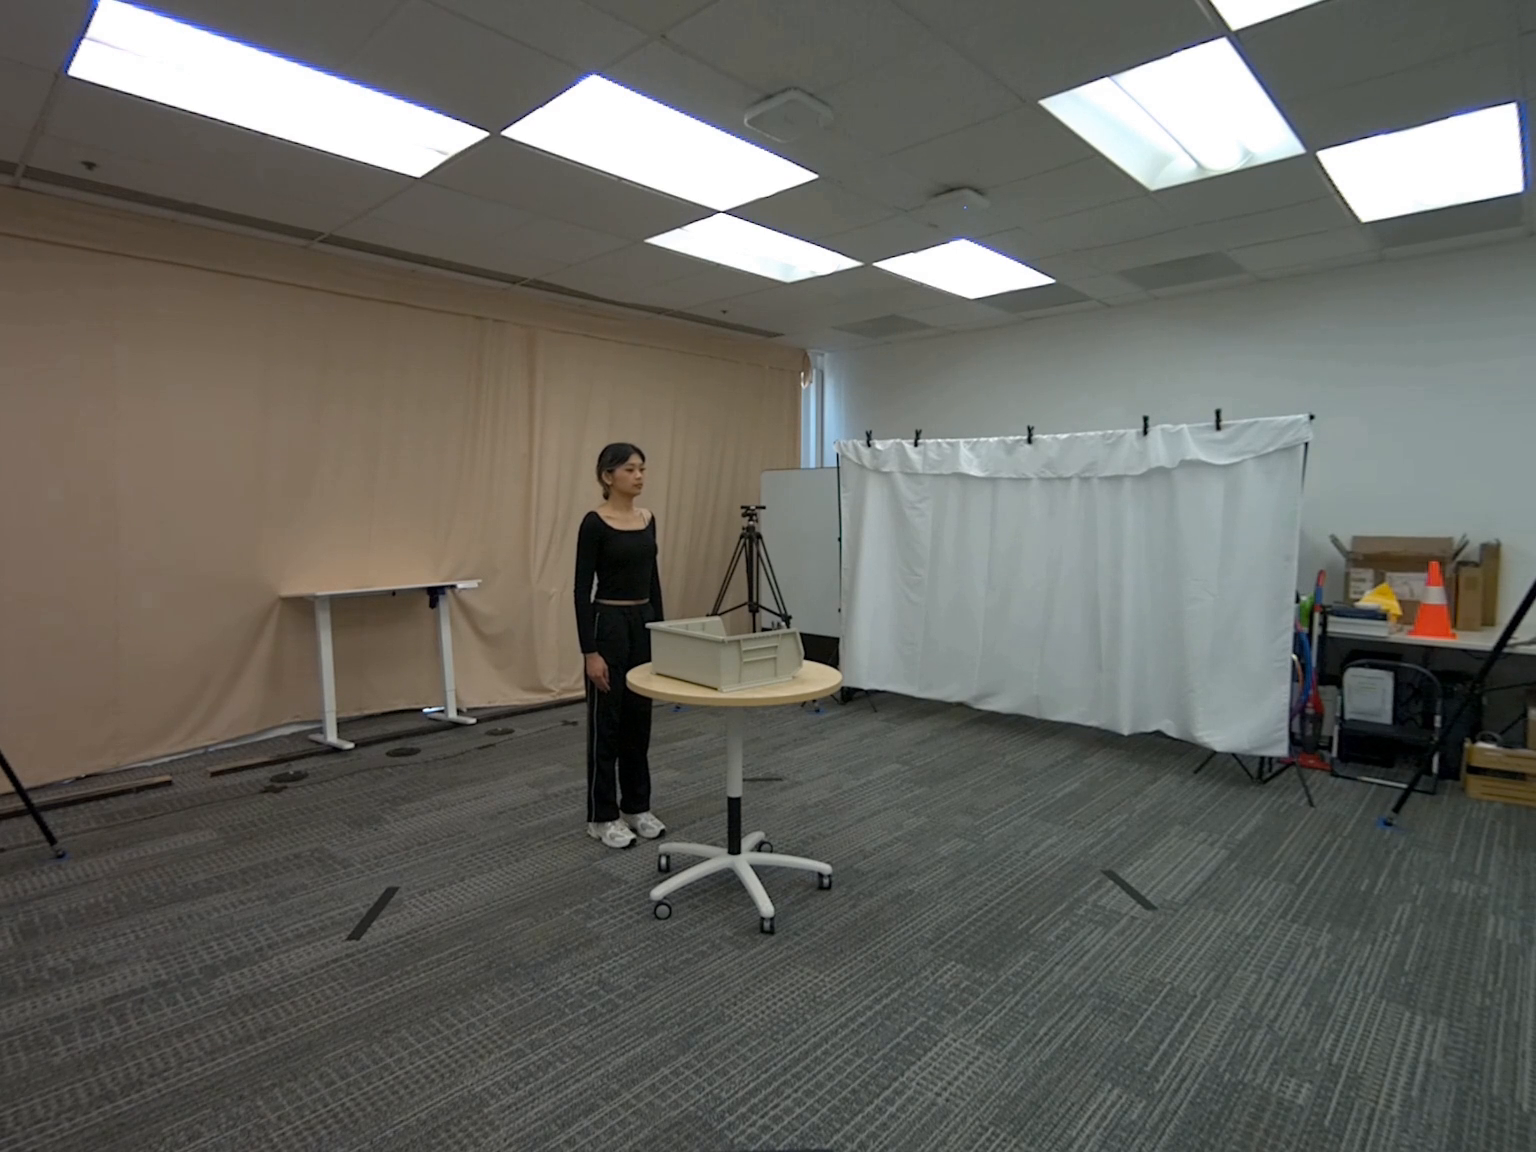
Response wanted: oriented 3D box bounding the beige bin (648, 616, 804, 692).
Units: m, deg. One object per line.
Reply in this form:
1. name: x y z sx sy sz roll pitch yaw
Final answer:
1. beige bin: -0.152 0.265 2.962 0.366 0.188 0.436 -5 7 -42
